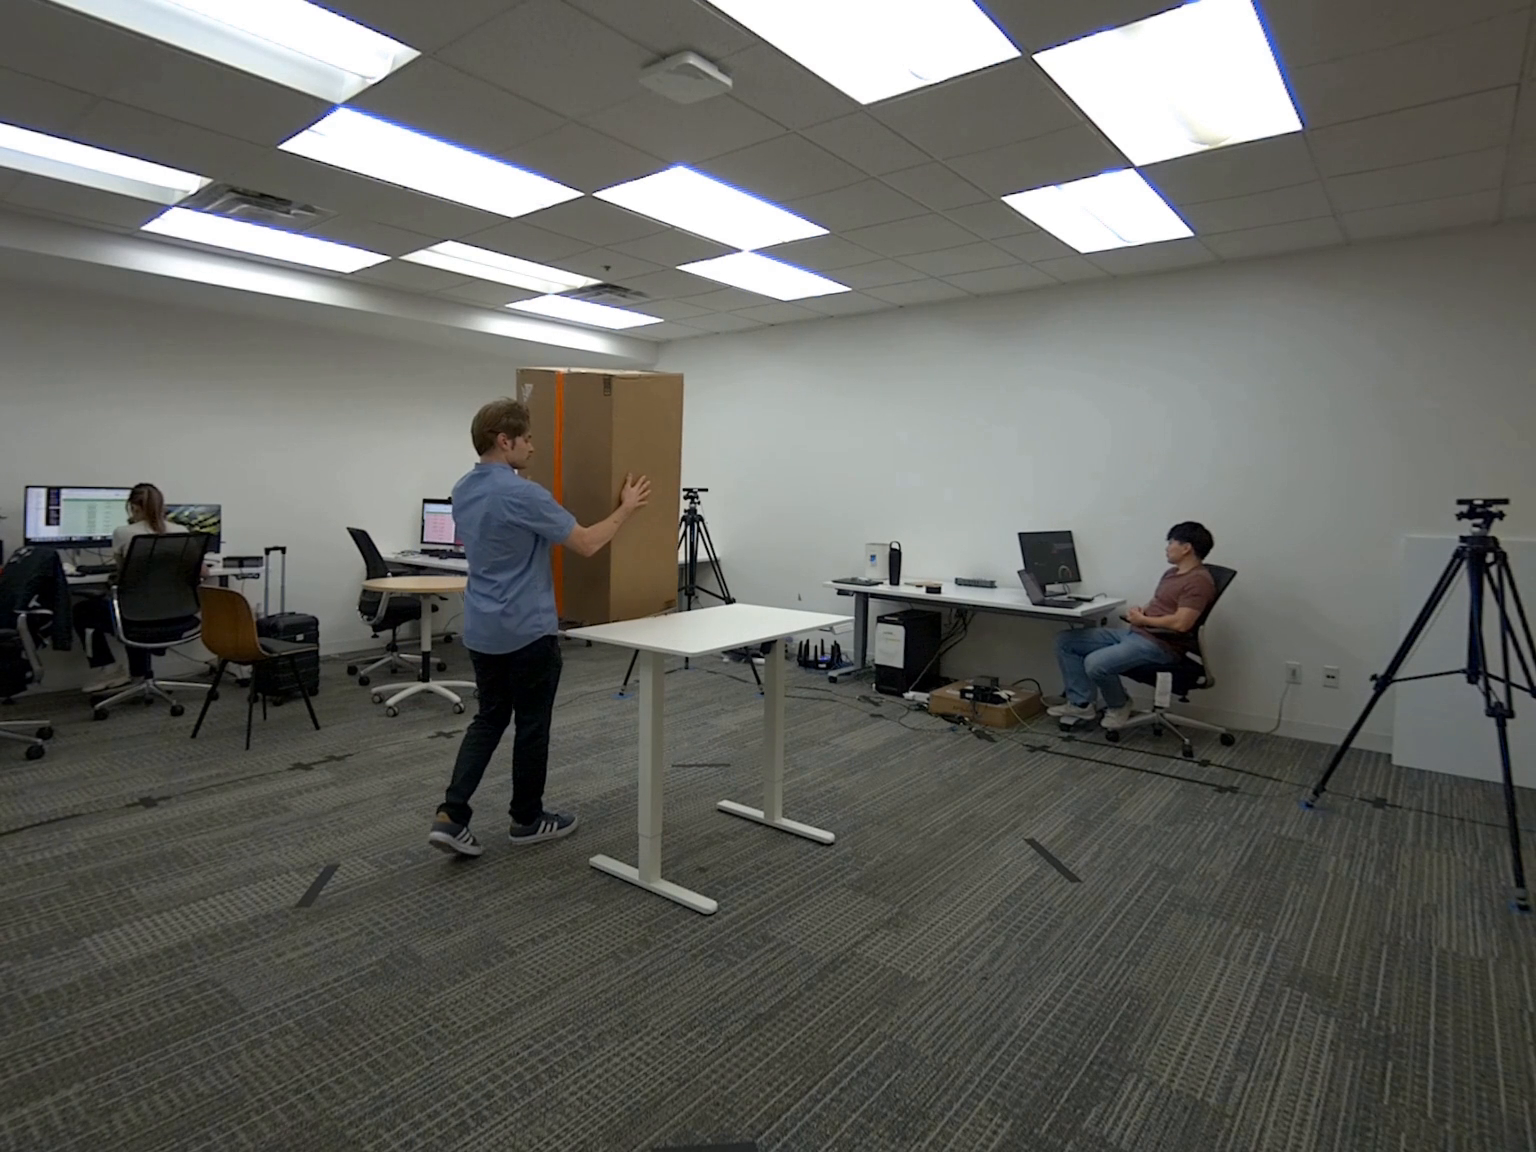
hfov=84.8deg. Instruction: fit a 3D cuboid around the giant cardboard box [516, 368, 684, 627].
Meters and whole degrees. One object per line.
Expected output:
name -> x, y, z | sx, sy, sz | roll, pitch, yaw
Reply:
giant cardboard box -> -0.737, -0.364, 3.630 | 0.598, 1.014, 0.416 | 12, 16, 36
